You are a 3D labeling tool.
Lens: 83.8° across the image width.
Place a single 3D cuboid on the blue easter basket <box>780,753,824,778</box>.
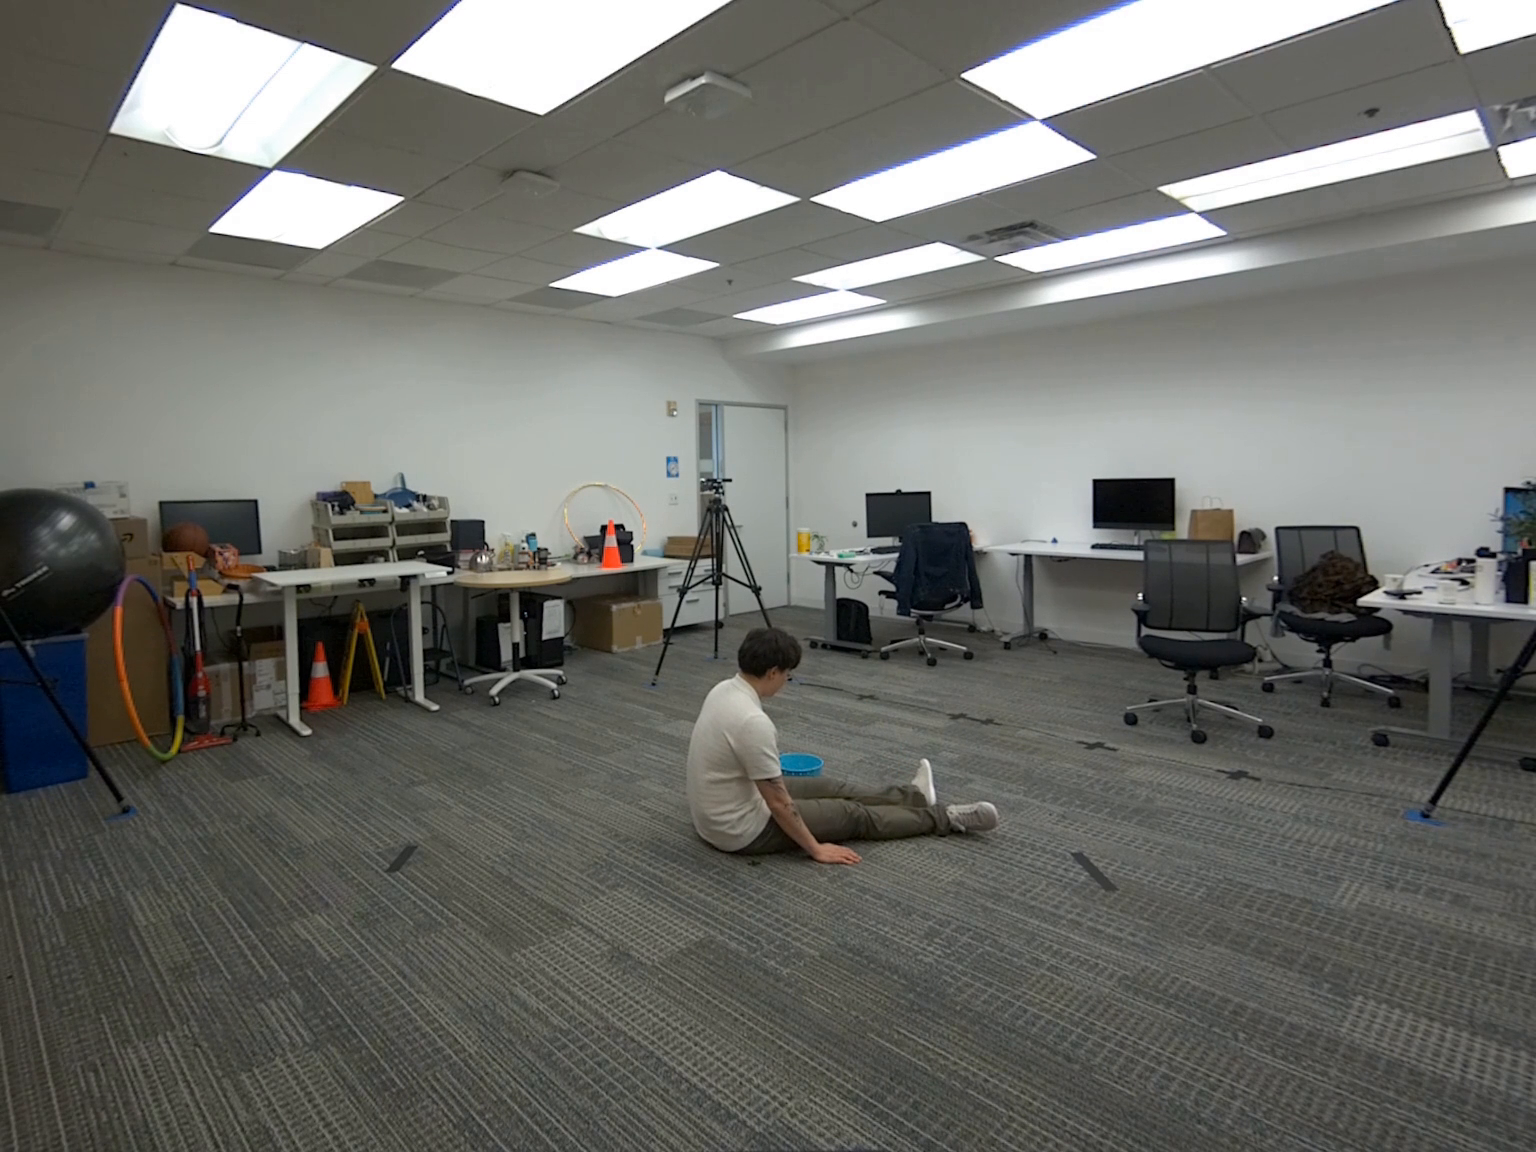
[{"bbox_3d":[0.137,0.891,3.769,0.243,0.155,0.245,-1,5,-2],"label":"blue easter basket"}]
